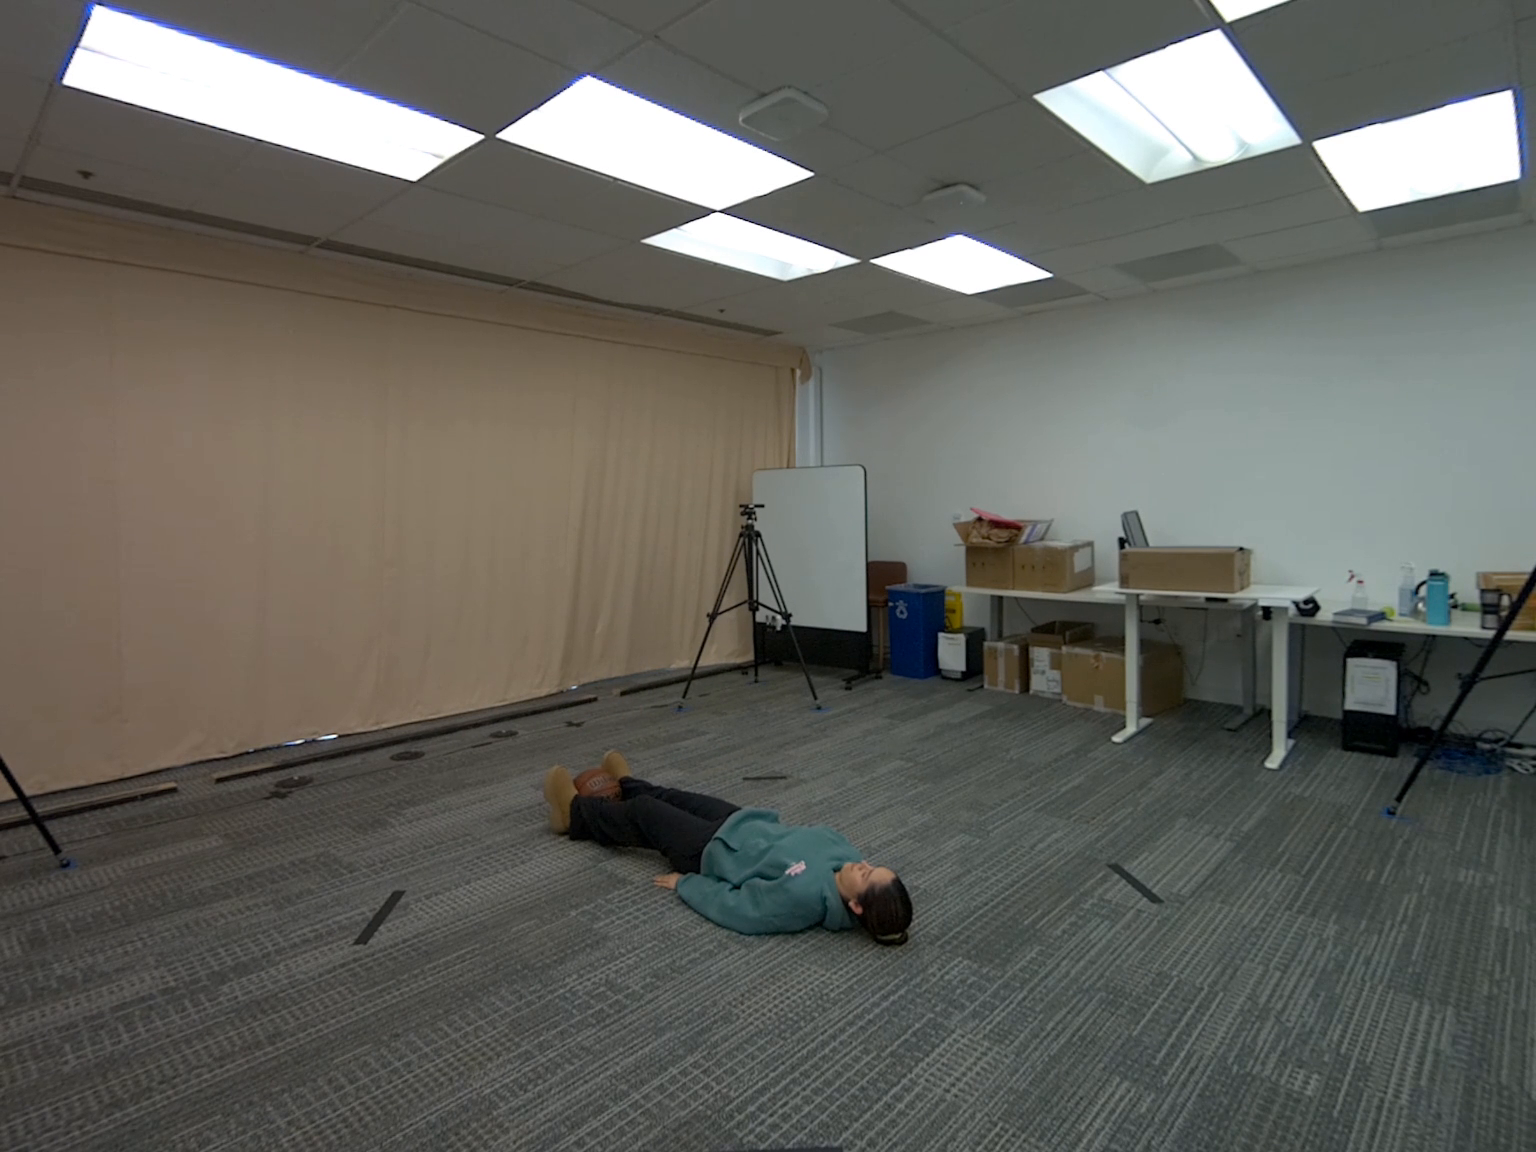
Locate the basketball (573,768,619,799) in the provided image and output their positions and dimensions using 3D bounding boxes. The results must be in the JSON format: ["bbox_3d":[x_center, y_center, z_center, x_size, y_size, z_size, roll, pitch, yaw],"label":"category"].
[{"bbox_3d":[-0.774,0.979,3.733,0.236,0.235,0.237,0,4,-2],"label":"basketball"}]
